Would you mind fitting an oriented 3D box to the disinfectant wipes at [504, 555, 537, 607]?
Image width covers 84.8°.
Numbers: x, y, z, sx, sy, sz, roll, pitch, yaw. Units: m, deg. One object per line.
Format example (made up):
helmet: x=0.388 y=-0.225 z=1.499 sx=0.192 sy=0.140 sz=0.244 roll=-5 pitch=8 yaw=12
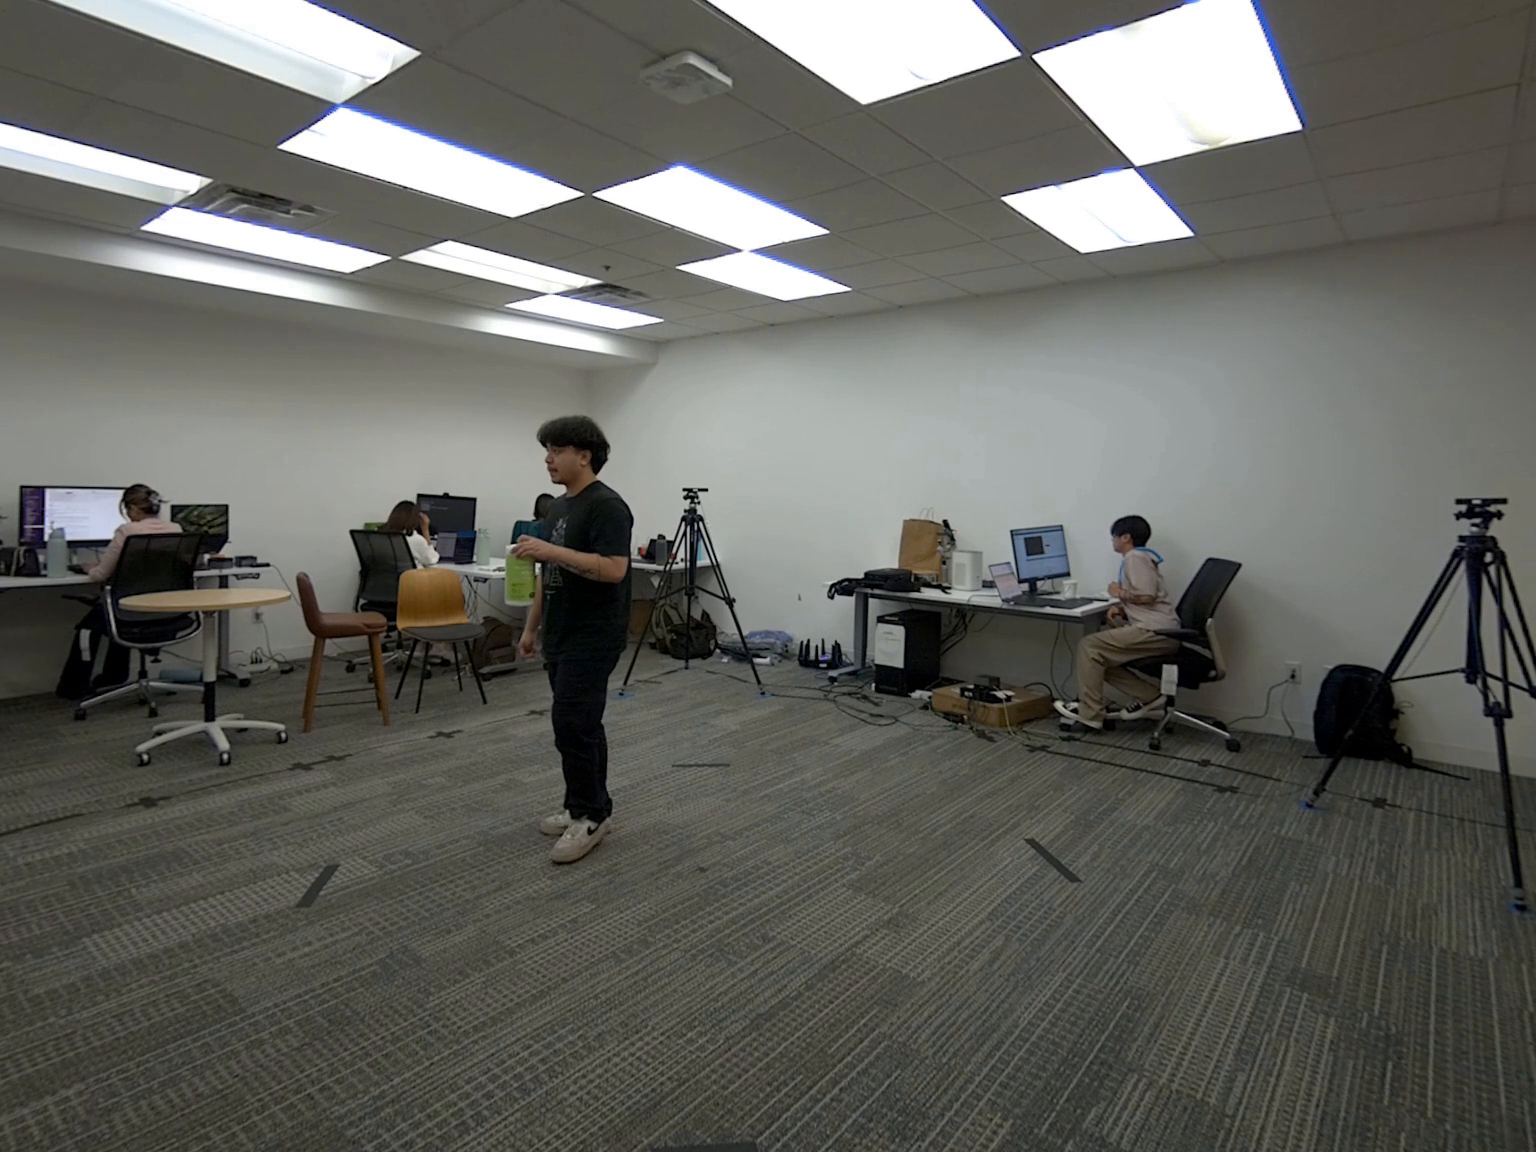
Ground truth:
disinfectant wipes: x=-0.925 y=-0.003 z=3.109 sx=0.117 sy=0.216 sz=0.118 roll=2 pitch=6 yaw=-2
